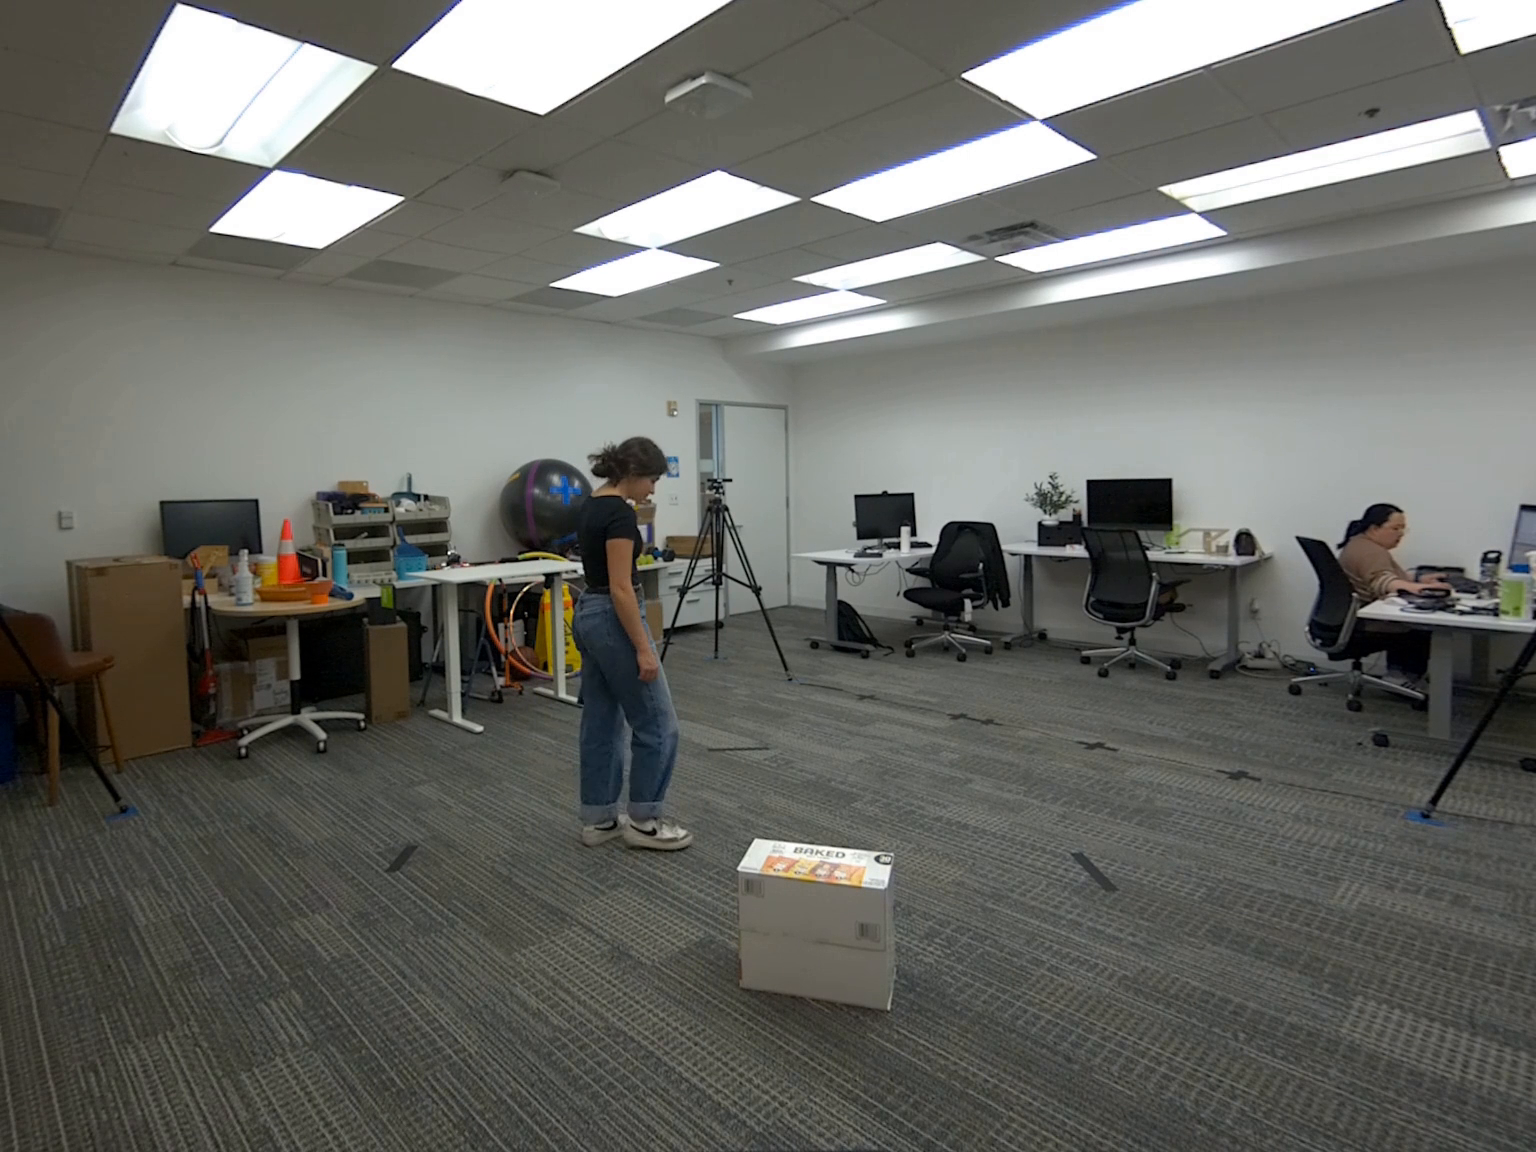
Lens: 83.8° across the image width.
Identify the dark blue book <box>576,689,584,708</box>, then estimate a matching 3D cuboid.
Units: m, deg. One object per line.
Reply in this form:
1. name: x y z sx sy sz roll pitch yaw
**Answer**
1. dark blue book: -0.672 0.423 3.519 0.159 0.247 0.046 16 -11 -26
